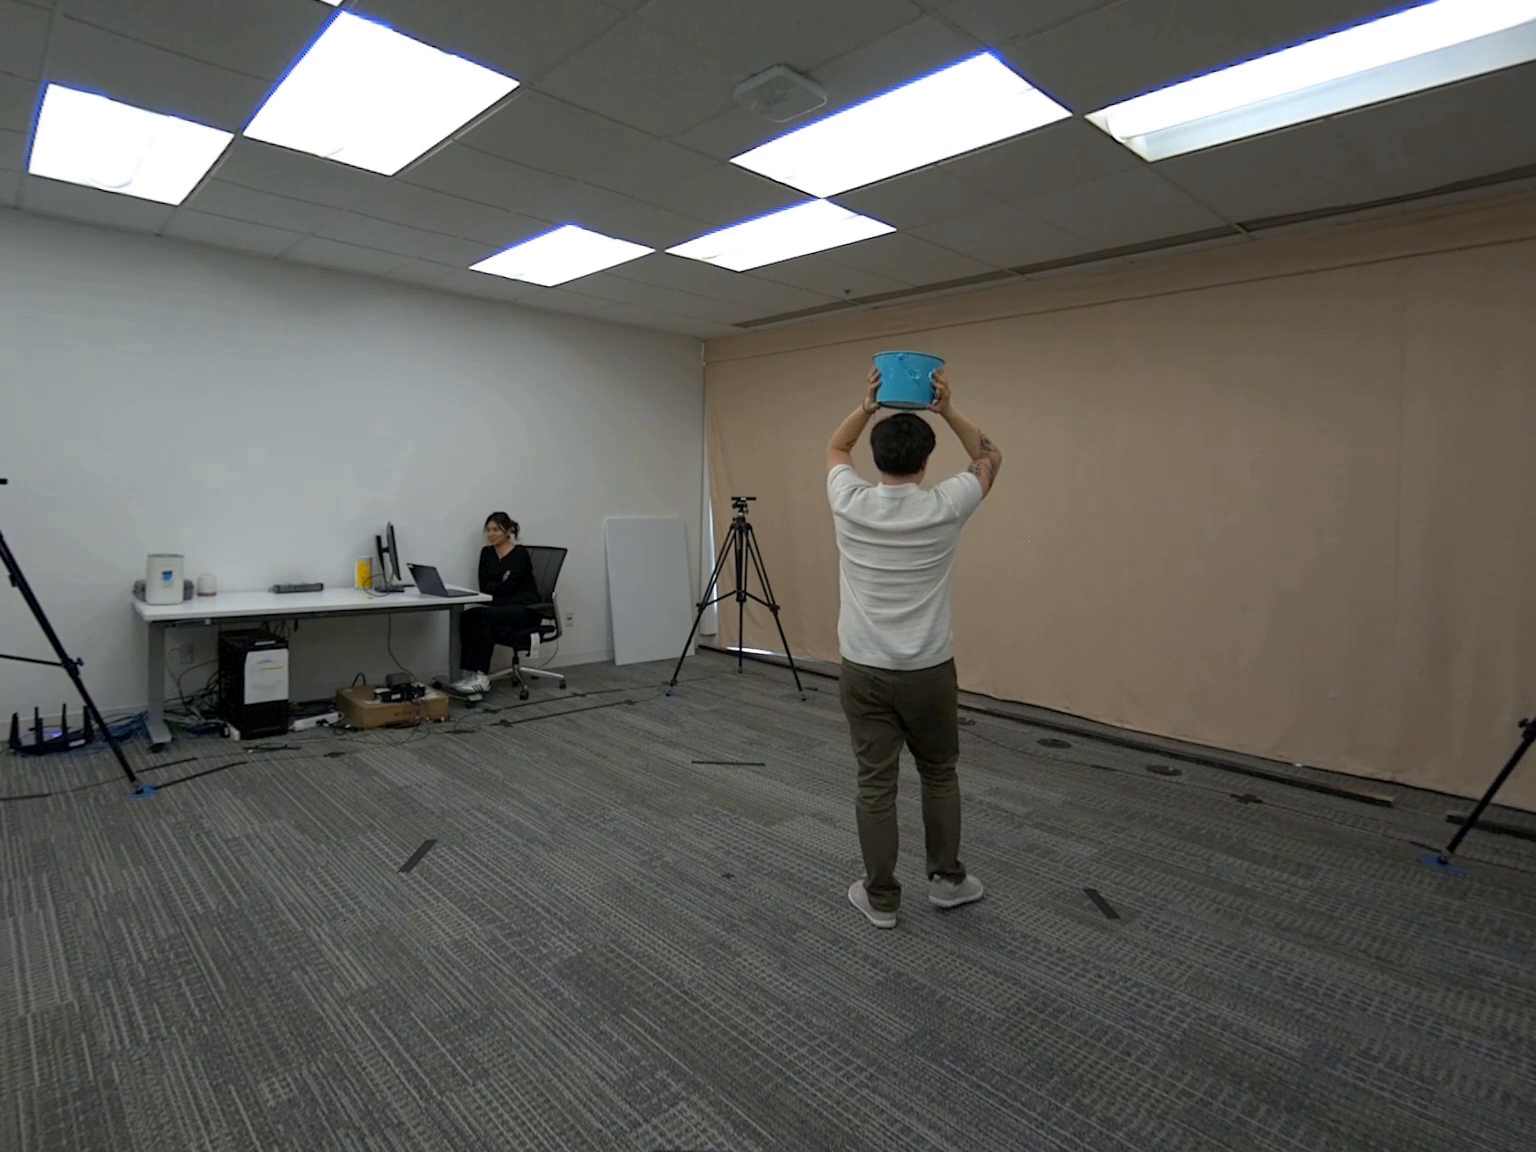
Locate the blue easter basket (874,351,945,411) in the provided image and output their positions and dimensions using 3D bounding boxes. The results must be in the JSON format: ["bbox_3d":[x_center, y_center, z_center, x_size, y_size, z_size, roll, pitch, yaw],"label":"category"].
[{"bbox_3d":[0.457,-0.628,2.750,0.243,0.155,0.244,7,4,-2],"label":"blue easter basket"}]
